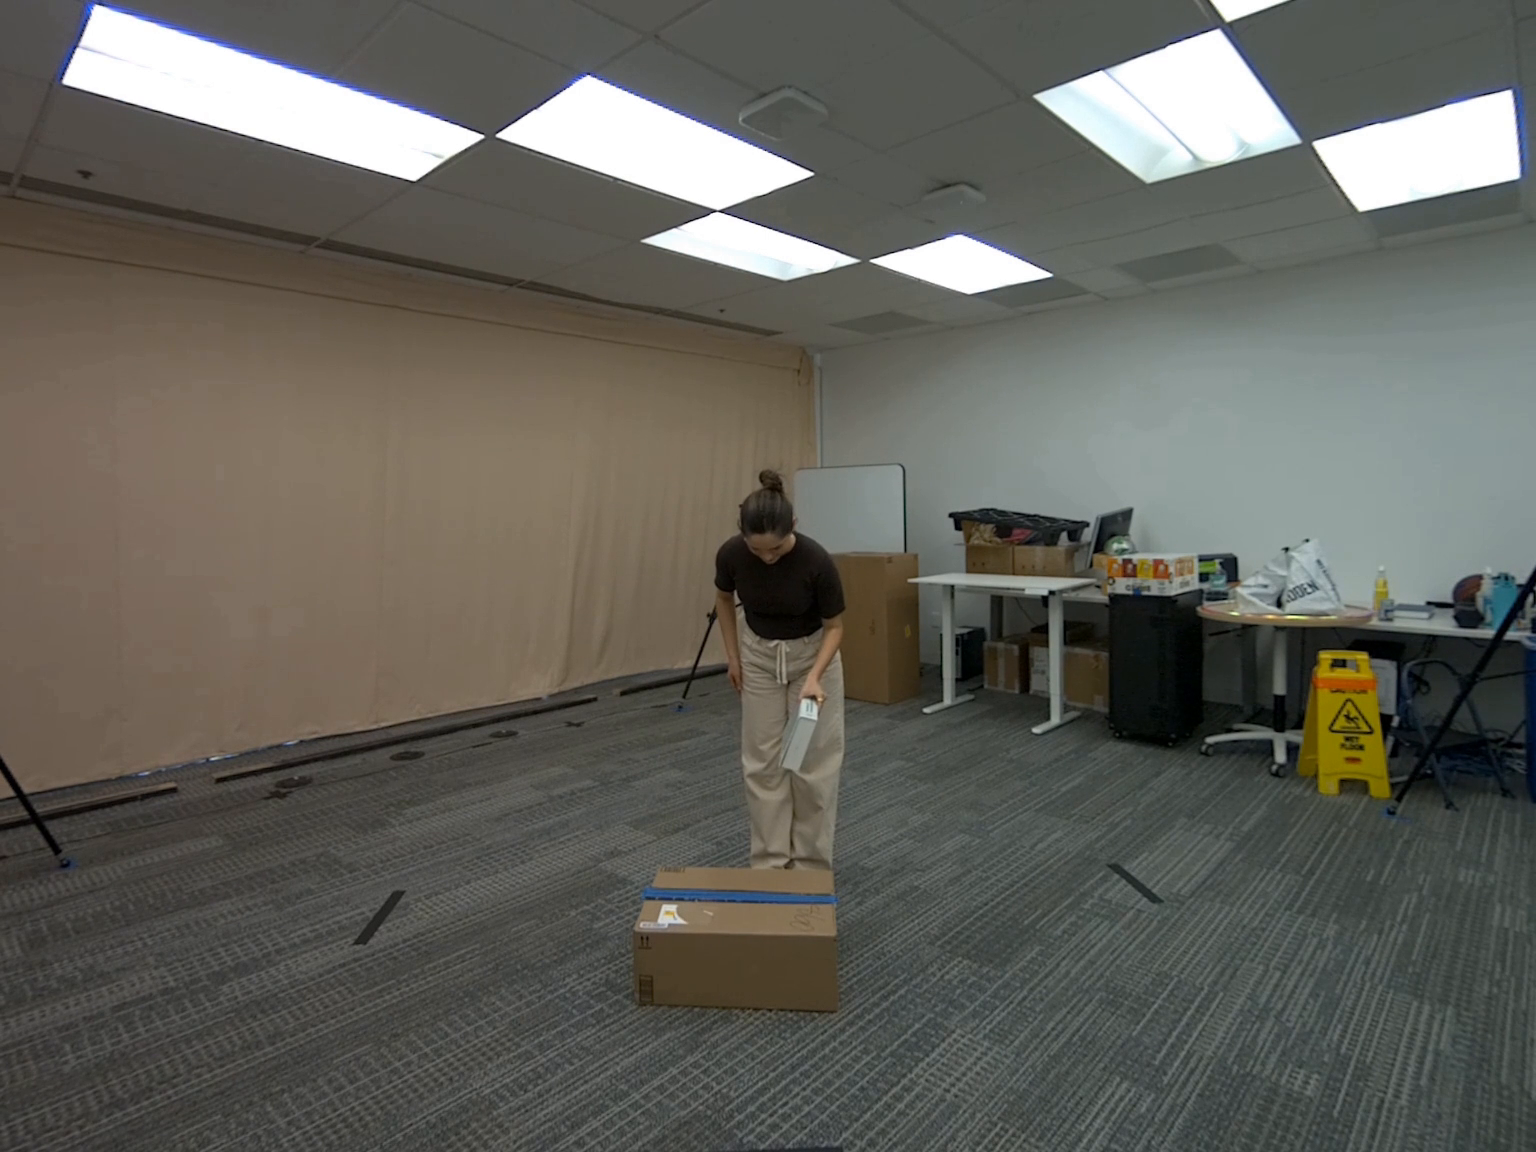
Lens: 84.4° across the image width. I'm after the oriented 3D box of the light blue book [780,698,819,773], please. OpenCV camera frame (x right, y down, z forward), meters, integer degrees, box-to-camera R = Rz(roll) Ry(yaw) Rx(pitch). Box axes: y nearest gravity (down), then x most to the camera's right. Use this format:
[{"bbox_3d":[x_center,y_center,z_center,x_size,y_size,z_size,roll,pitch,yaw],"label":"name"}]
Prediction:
[{"bbox_3d":[0.103,0.488,2.713,0.059,0.190,0.261,13,12,0],"label":"light blue book"}]
